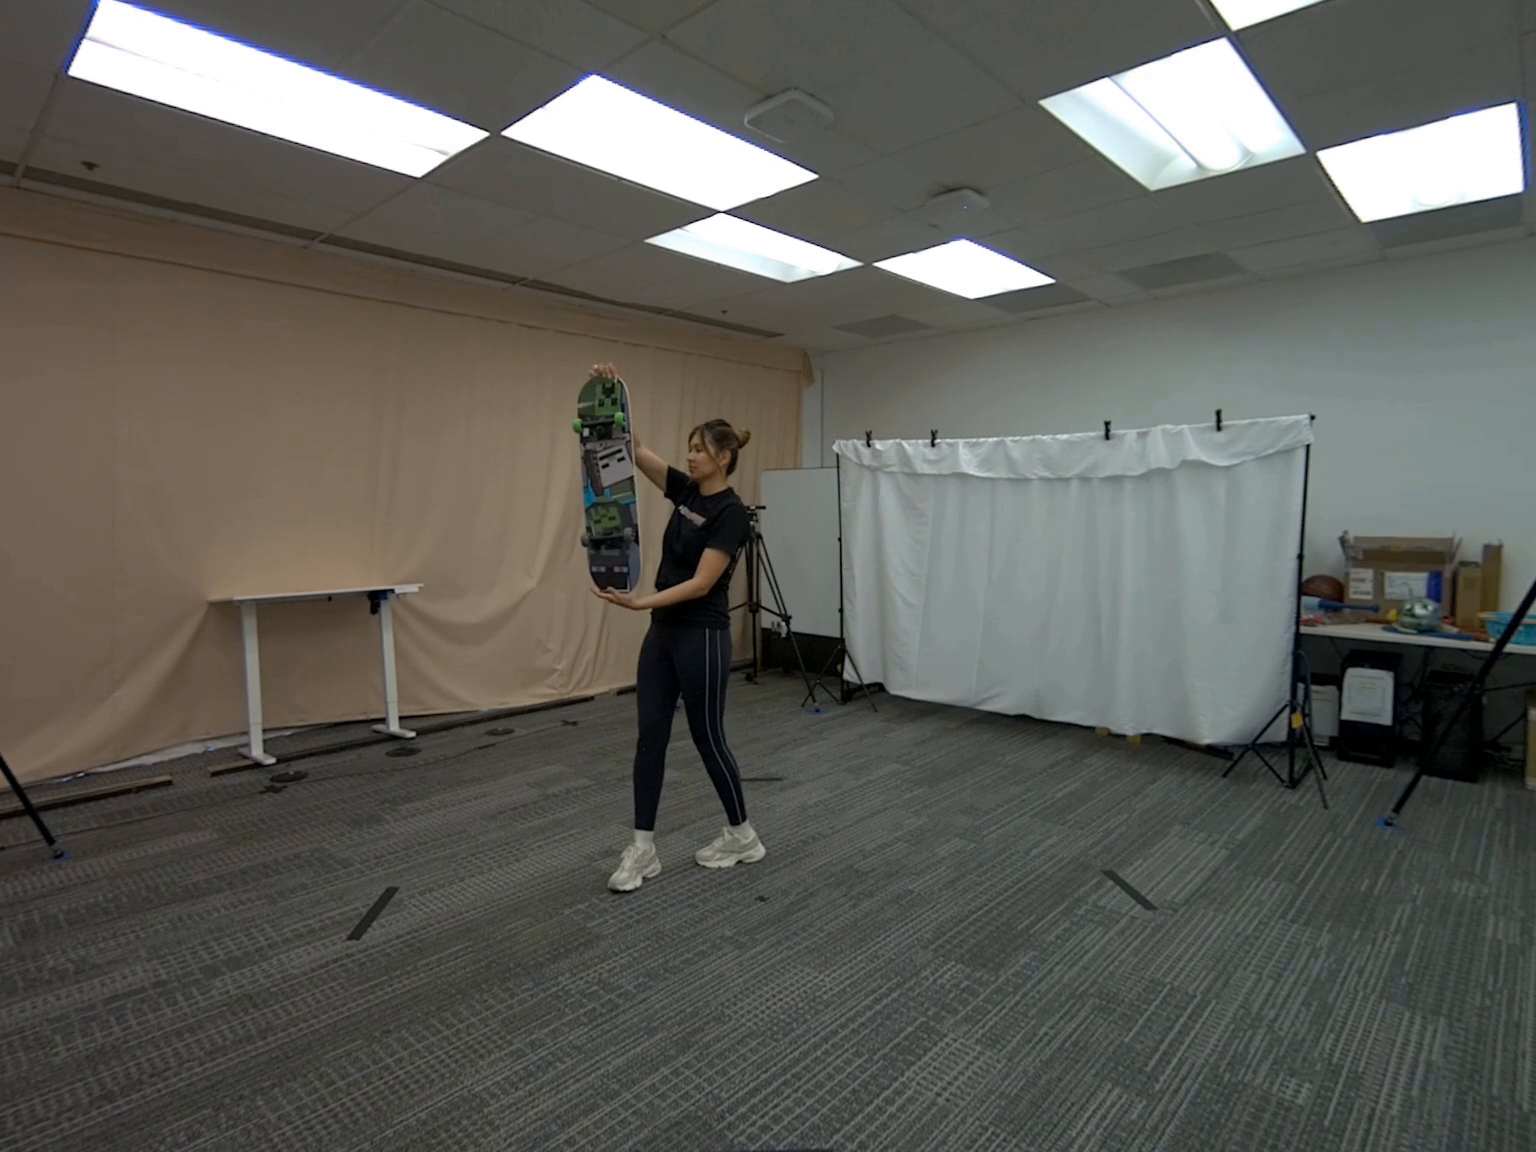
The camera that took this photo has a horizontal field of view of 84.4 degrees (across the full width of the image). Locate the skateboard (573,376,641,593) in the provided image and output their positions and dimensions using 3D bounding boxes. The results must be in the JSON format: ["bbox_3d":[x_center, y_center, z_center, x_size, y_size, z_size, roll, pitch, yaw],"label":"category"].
[{"bbox_3d":[-0.555,-0.328,2.905,0.196,0.788,0.108,-7,-5,13],"label":"skateboard"}]
